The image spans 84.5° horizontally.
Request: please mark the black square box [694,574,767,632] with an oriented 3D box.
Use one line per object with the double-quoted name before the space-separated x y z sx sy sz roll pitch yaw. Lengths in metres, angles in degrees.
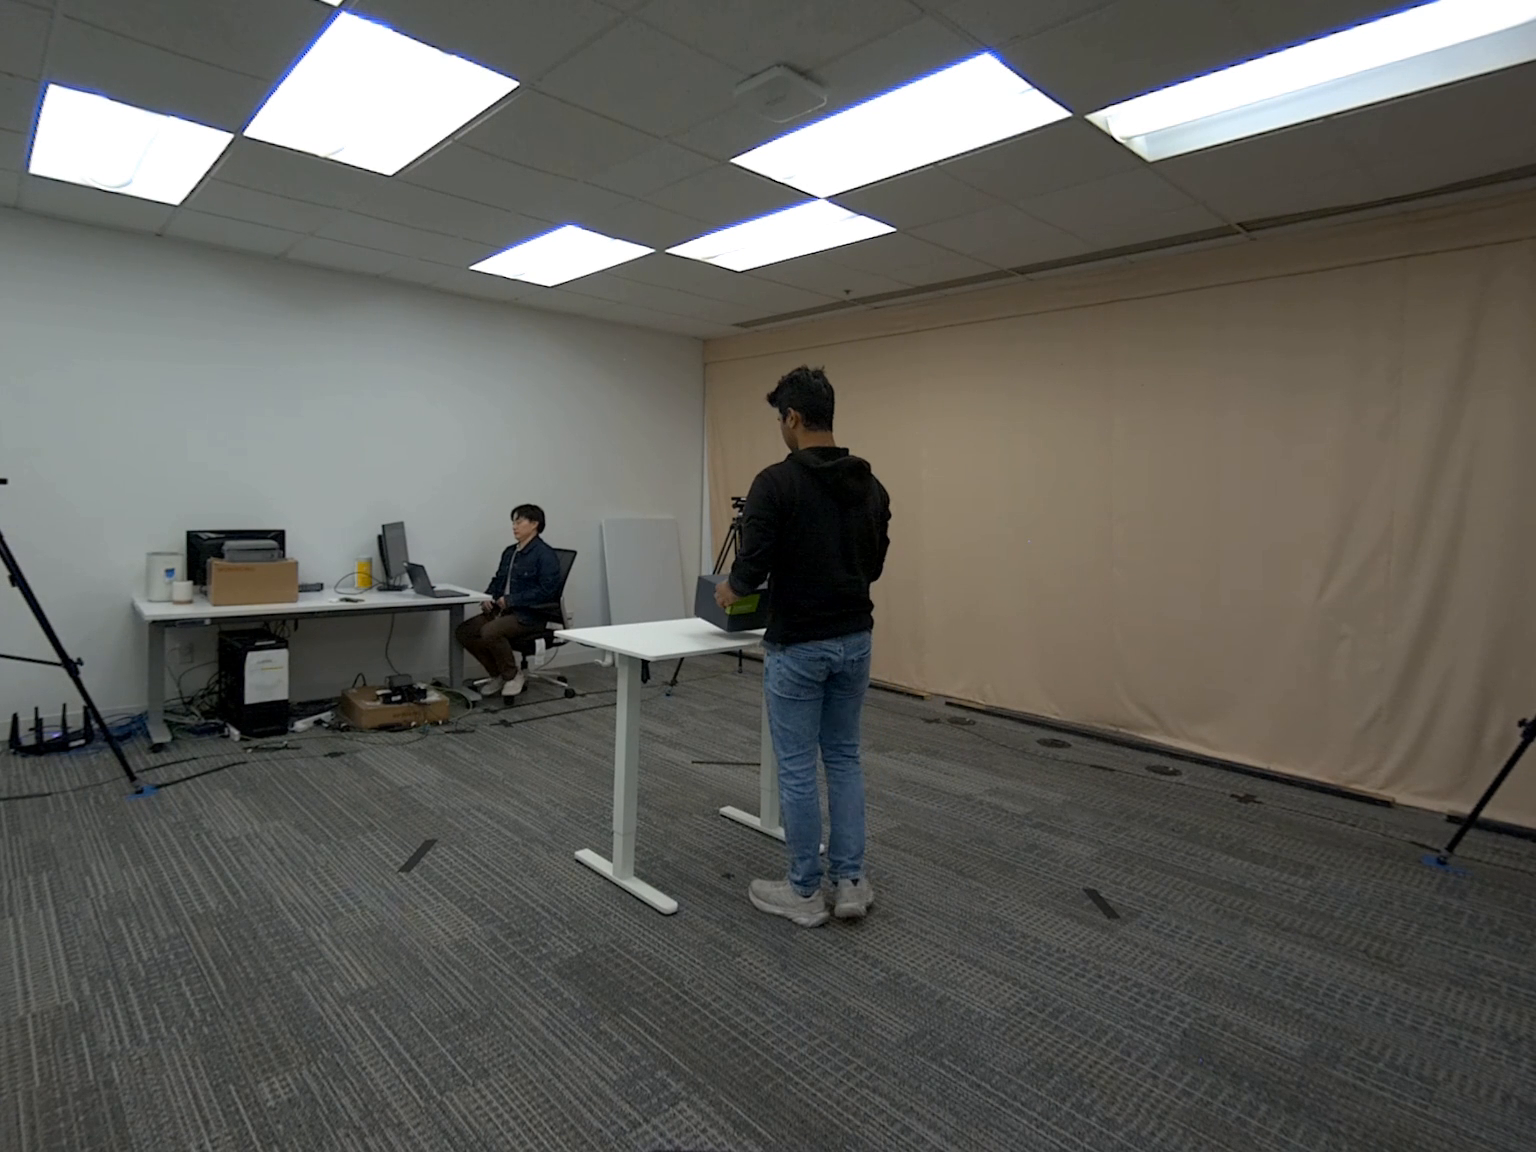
"black square box" -0.109 0.095 3.136 0.223 0.154 0.223 -4 18 -40
